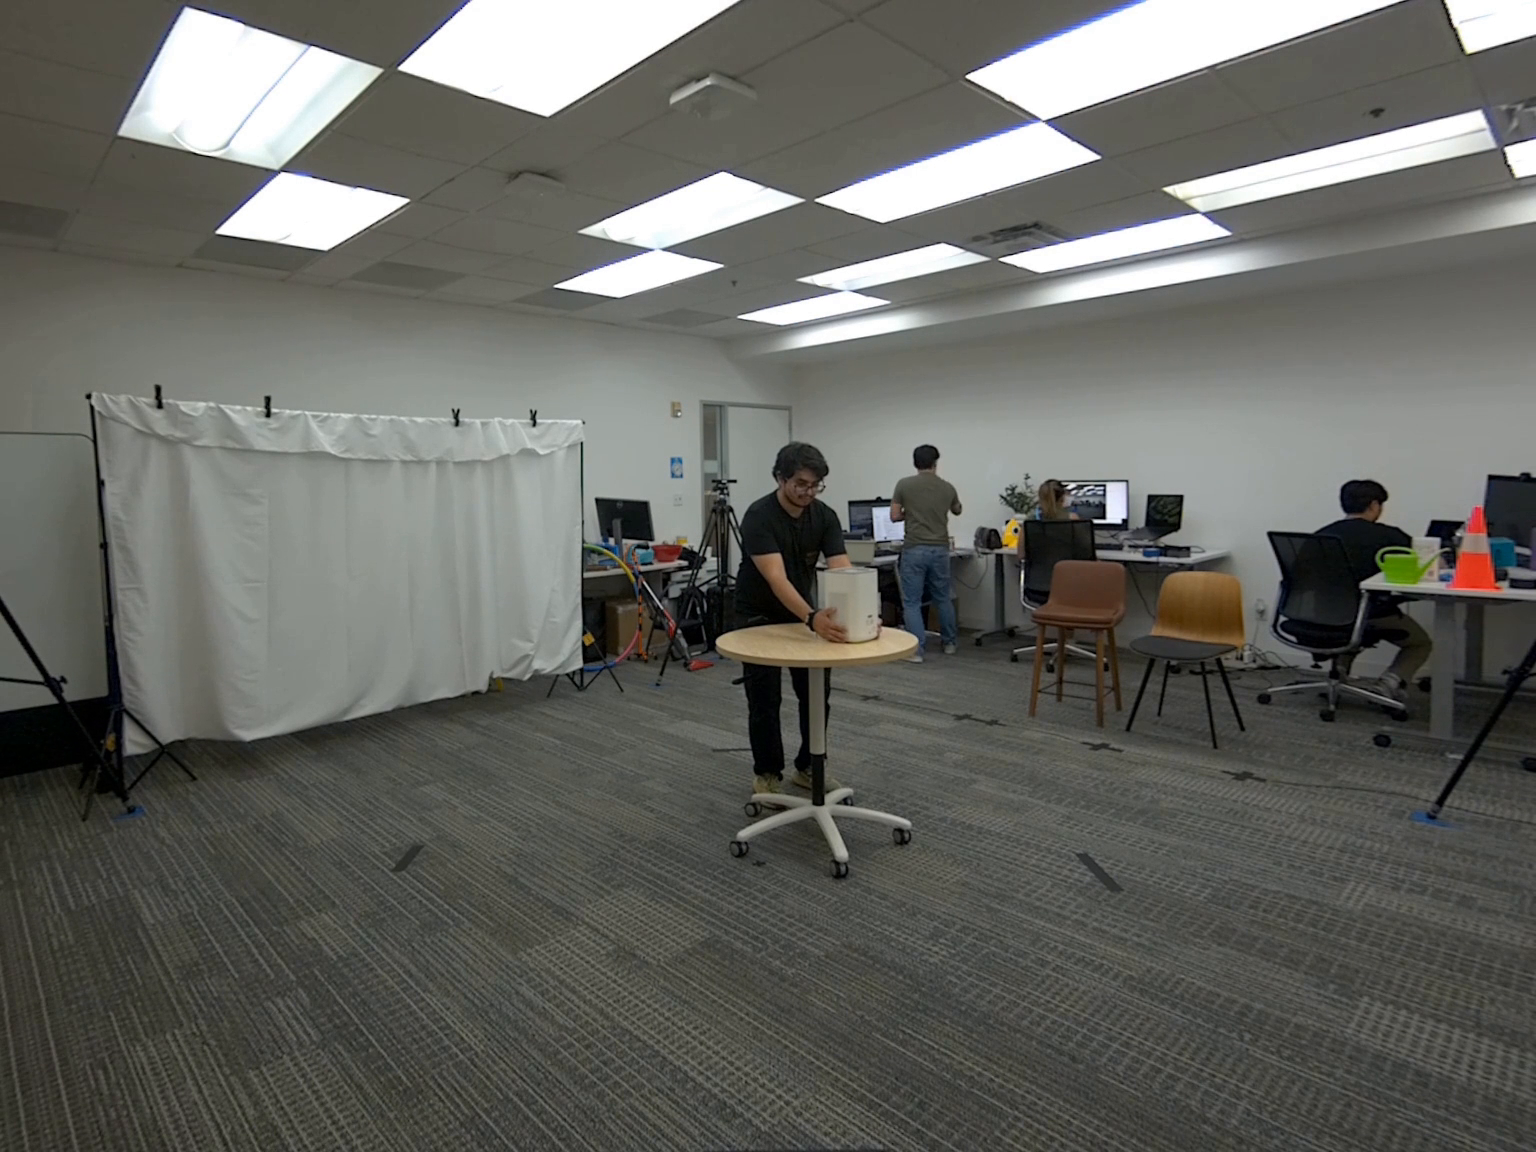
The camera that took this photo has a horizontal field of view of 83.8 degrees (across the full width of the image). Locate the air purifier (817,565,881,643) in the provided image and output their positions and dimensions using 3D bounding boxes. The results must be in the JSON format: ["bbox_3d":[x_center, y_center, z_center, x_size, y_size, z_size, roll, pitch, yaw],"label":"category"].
[{"bbox_3d":[0.321,0.110,3.236,0.177,0.264,0.166,4,6,41],"label":"air purifier"}]
